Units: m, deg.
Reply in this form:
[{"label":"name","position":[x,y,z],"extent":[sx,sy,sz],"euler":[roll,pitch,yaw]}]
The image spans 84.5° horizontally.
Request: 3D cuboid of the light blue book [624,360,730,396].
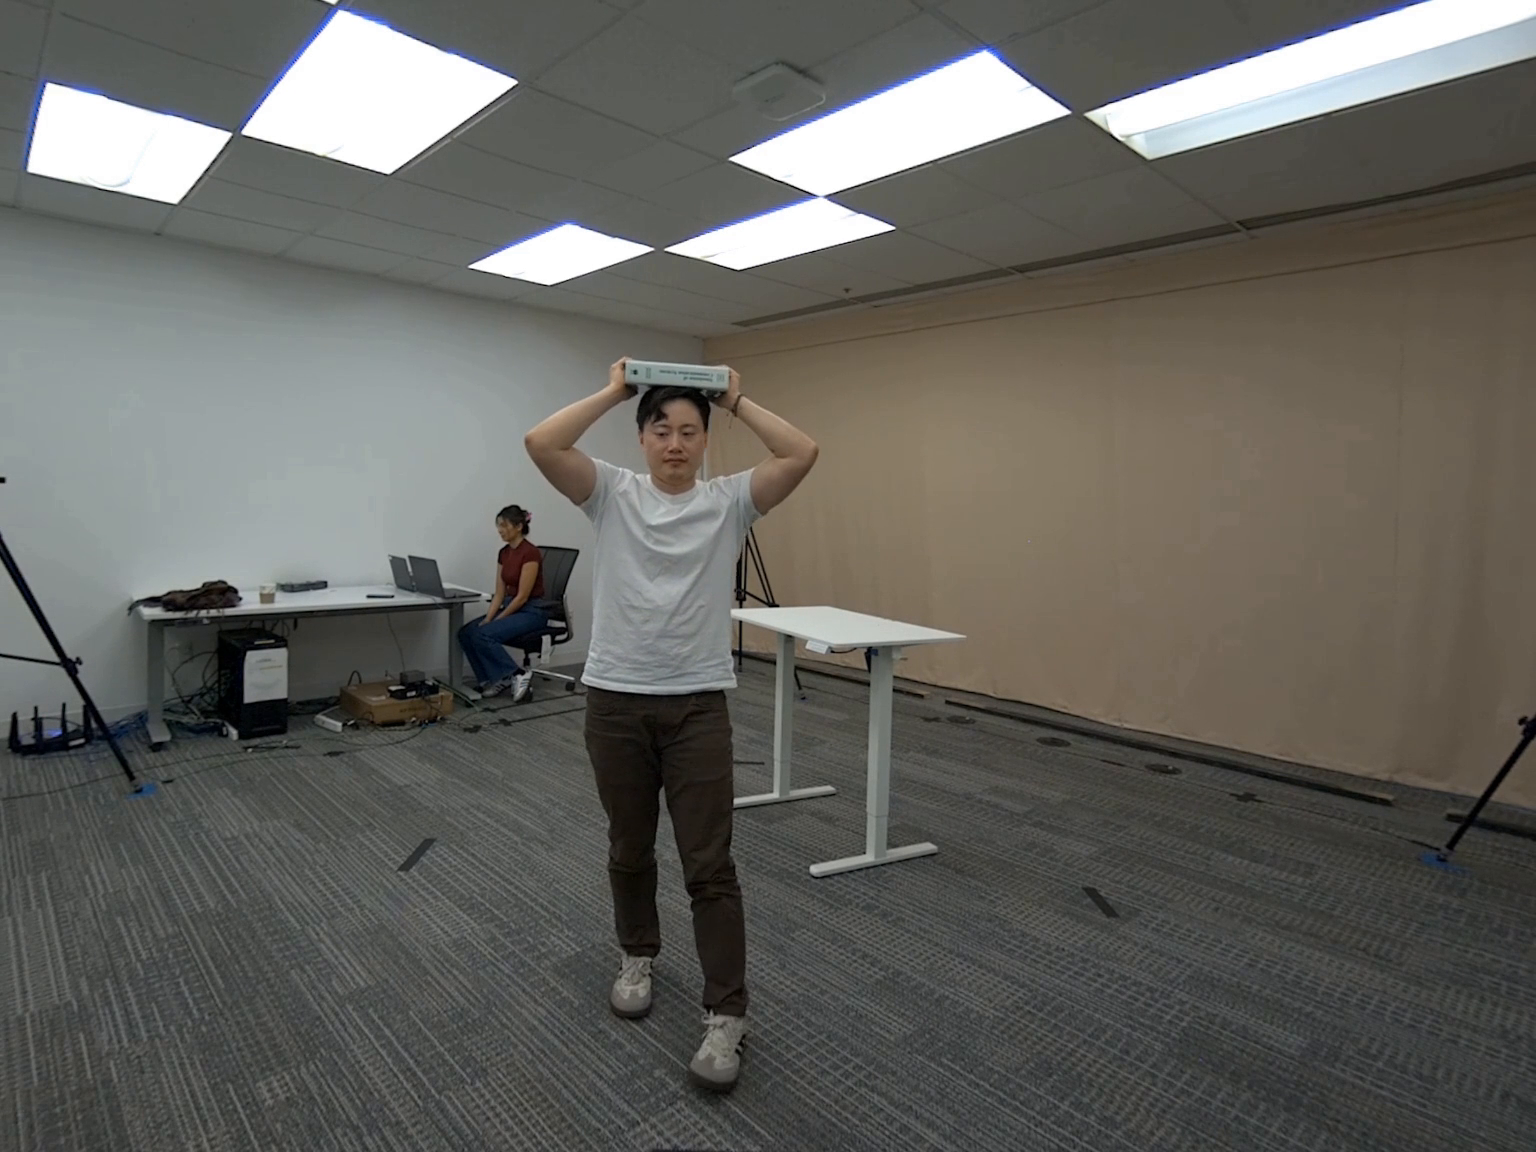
[{"label":"light blue book","position":[-0.259,-0.511,2.194],"extent":[0.259,0.059,0.193],"euler":[2,4,-10]}]
